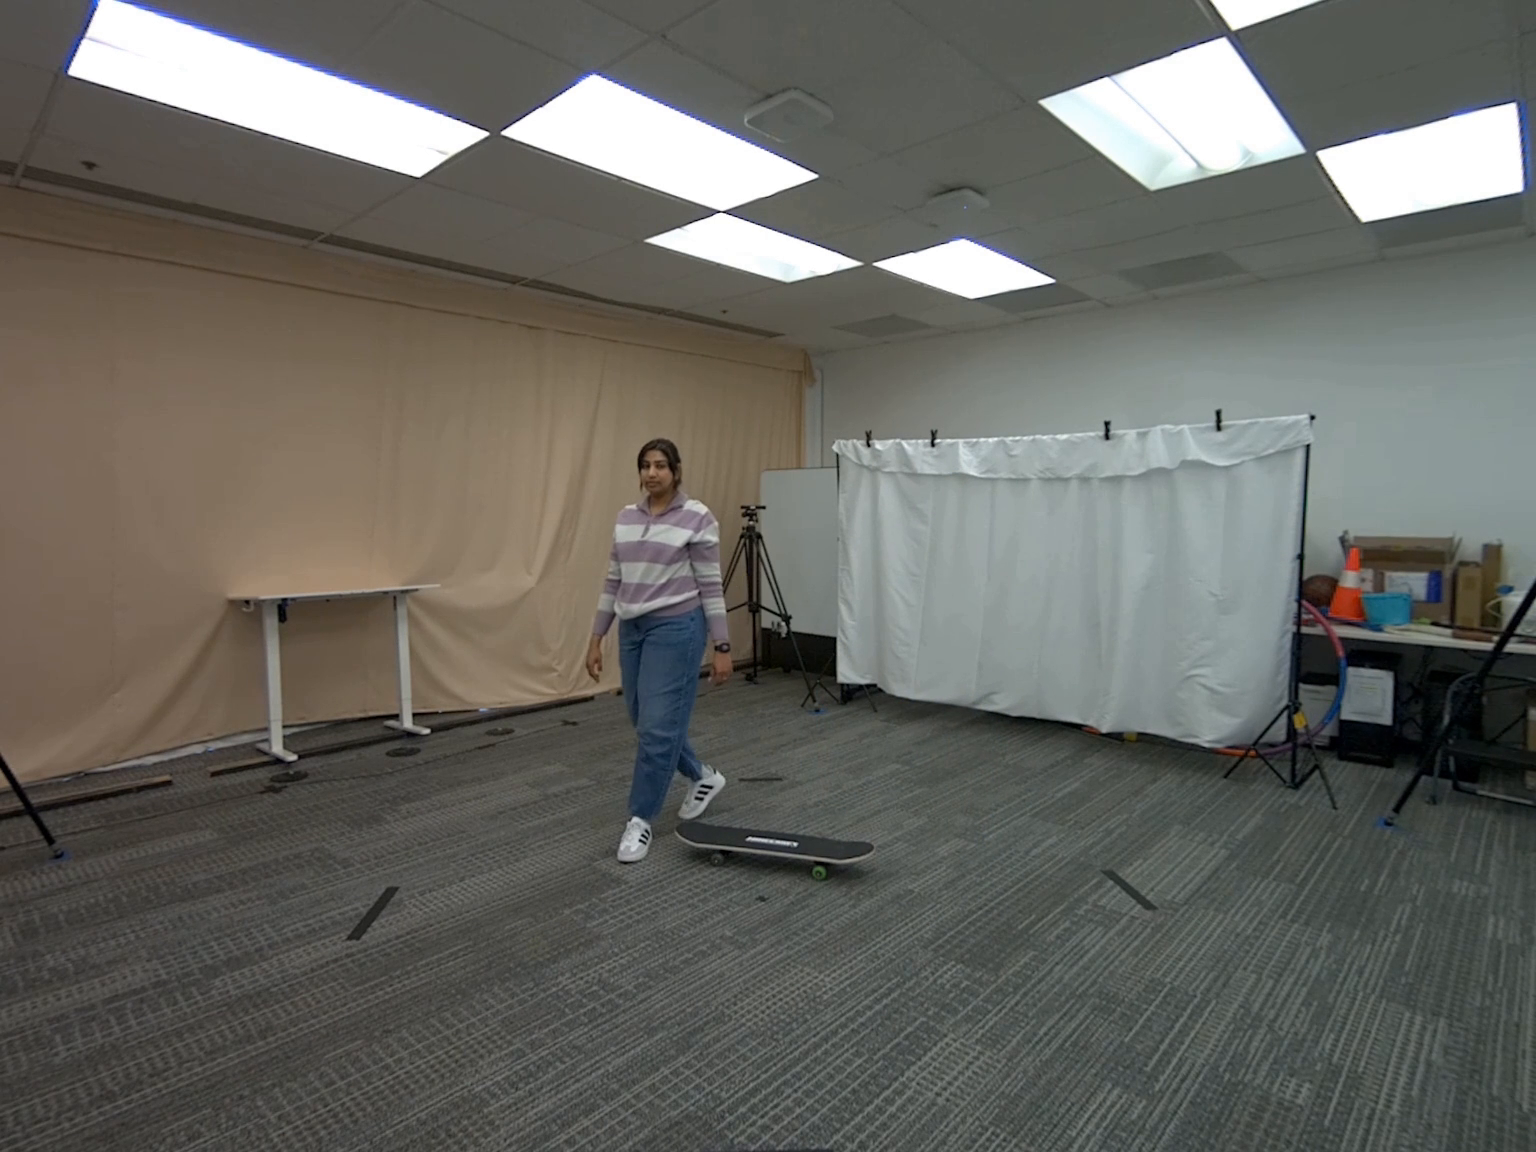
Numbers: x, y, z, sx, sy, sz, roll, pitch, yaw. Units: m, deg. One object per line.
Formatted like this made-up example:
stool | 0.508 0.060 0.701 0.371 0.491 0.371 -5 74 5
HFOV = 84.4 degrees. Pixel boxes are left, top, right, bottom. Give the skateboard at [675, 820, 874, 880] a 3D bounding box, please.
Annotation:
skateboard | 0.018 1.060 3.264 0.799 0.110 0.190 1 6 16
